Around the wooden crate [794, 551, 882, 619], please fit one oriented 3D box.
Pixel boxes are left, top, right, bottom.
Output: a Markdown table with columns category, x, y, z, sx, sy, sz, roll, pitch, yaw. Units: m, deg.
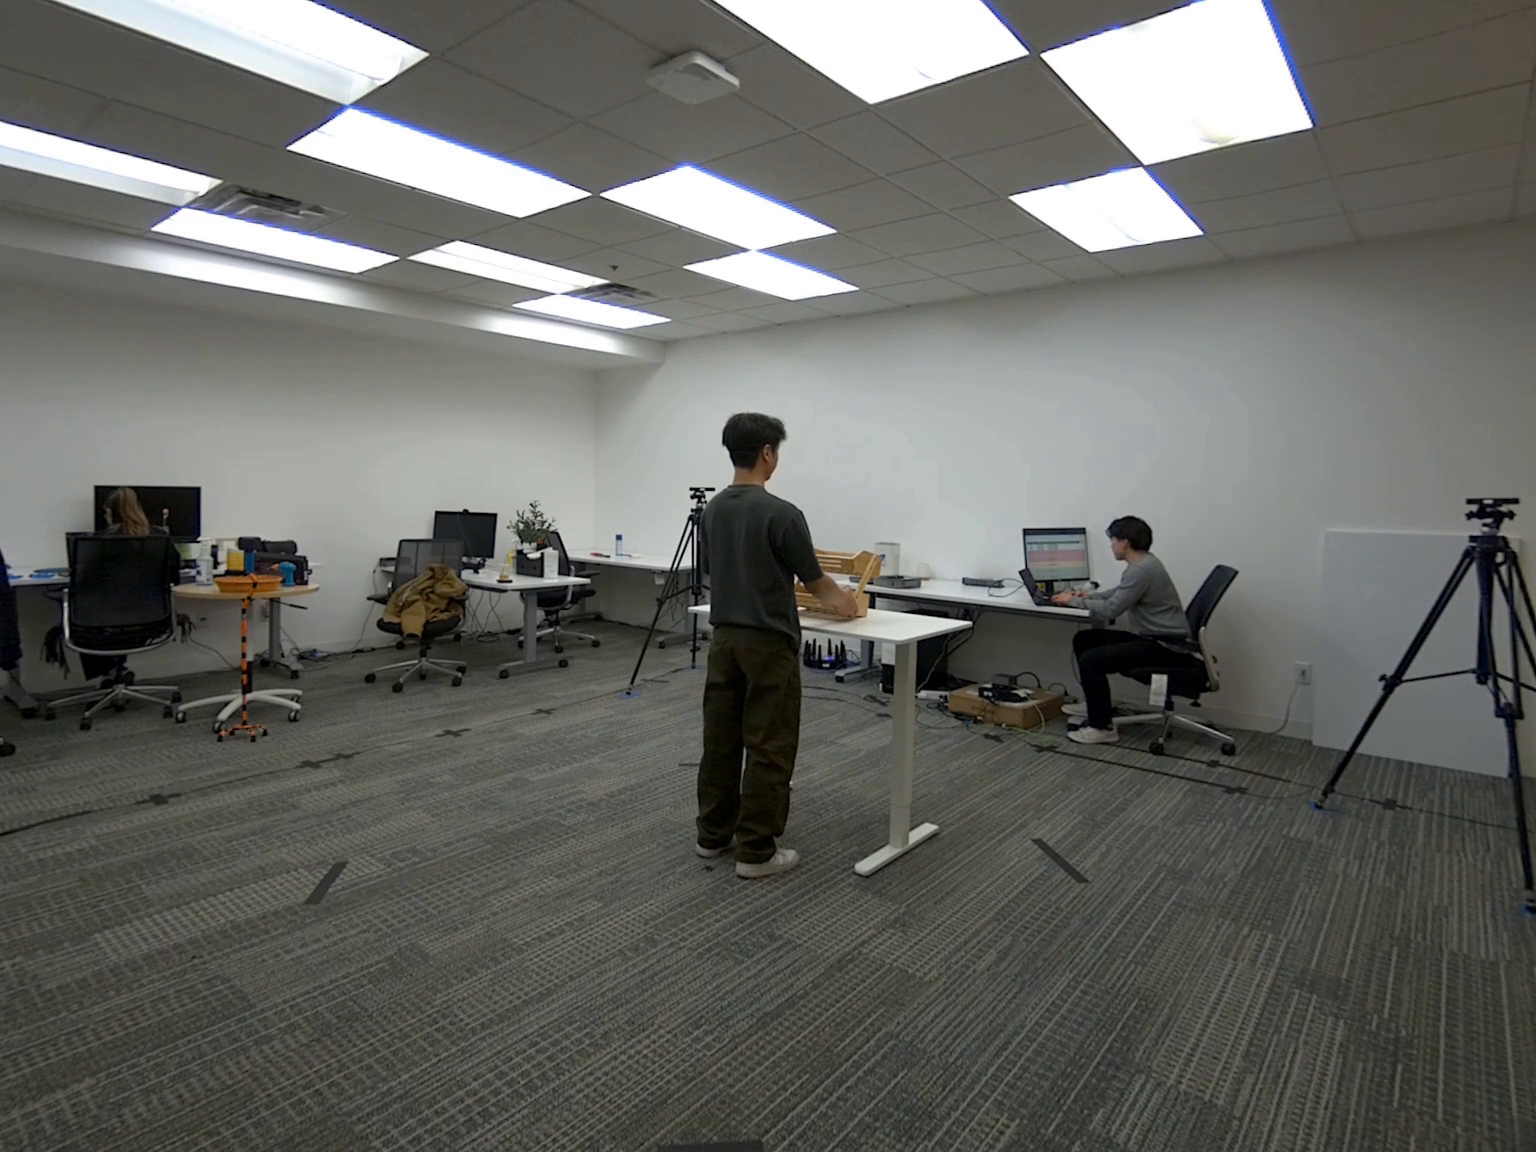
| category | x | y | z | sx | sy | sz | roll | pitch | yaw |
| --- | --- | --- | --- | --- | --- | --- | --- | --- | --- |
| wooden crate | 0.242 | 0.006 | 3.505 | 0.336 | 0.274 | 0.291 | 6 | -5 | 41 |
